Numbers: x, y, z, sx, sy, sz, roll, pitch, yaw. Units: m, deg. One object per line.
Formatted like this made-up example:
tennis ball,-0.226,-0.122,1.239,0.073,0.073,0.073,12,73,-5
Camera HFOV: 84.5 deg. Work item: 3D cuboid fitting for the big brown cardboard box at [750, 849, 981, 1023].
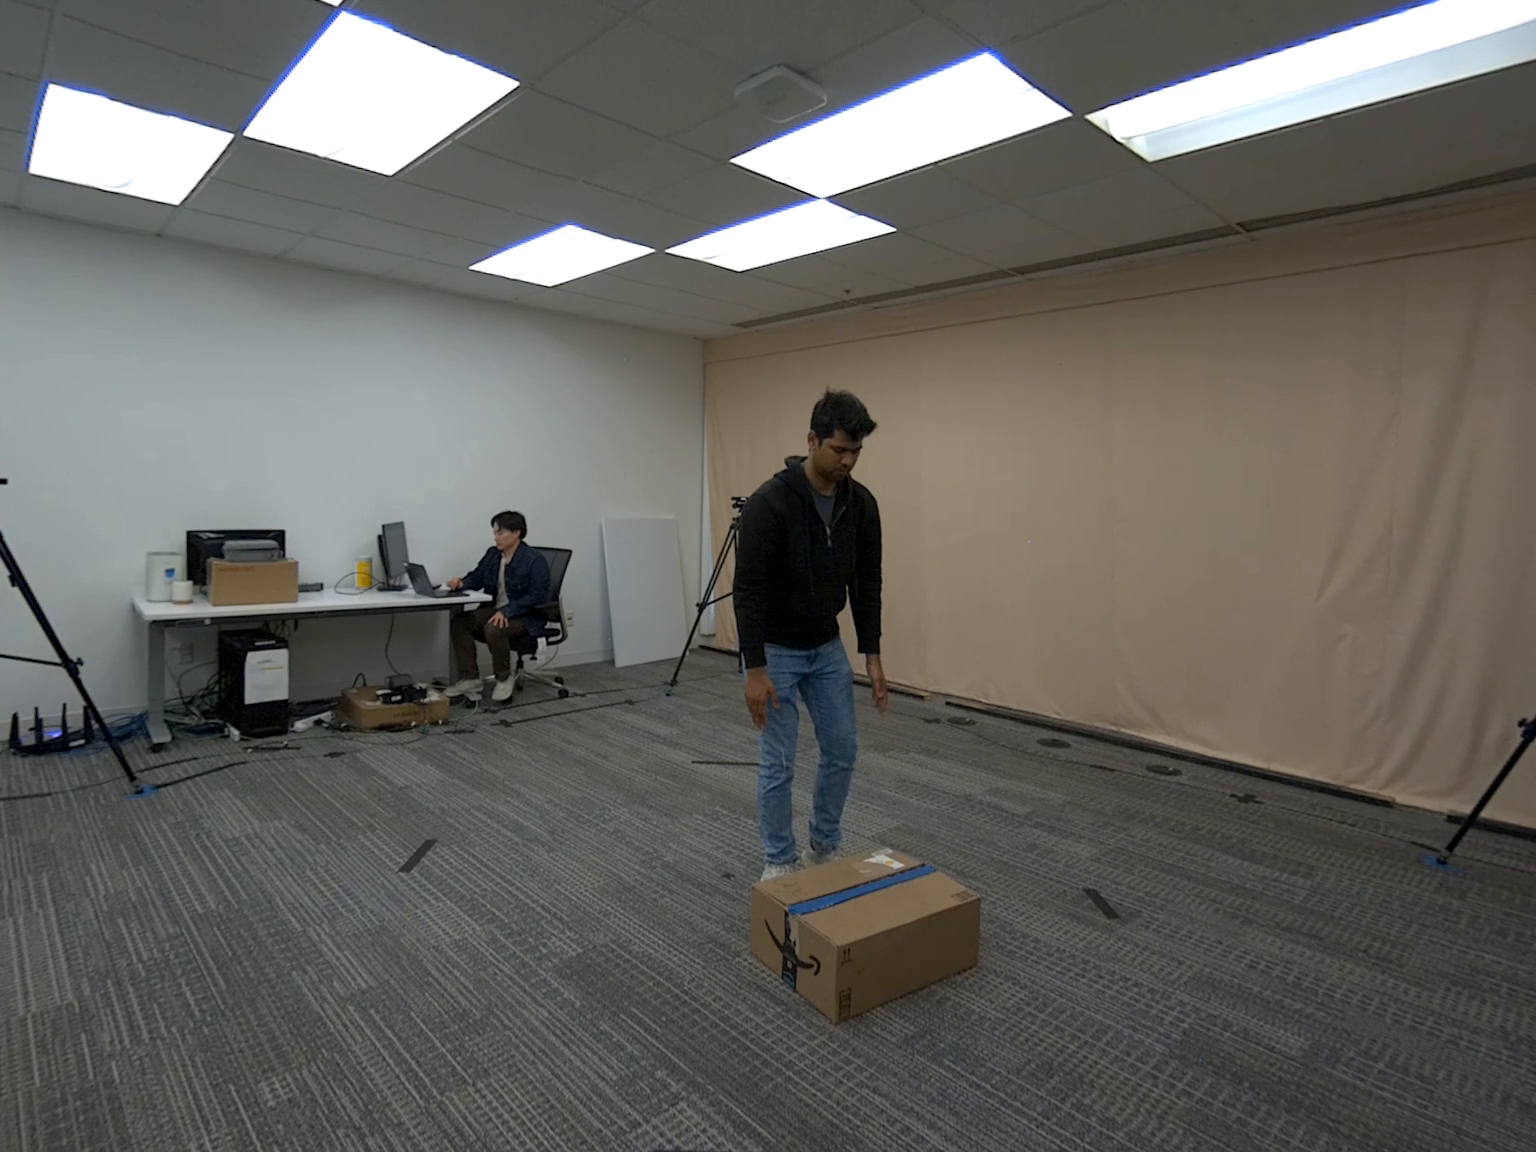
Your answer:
big brown cardboard box,0.292,1.056,2.560,0.576,0.232,0.428,-3,7,-34
